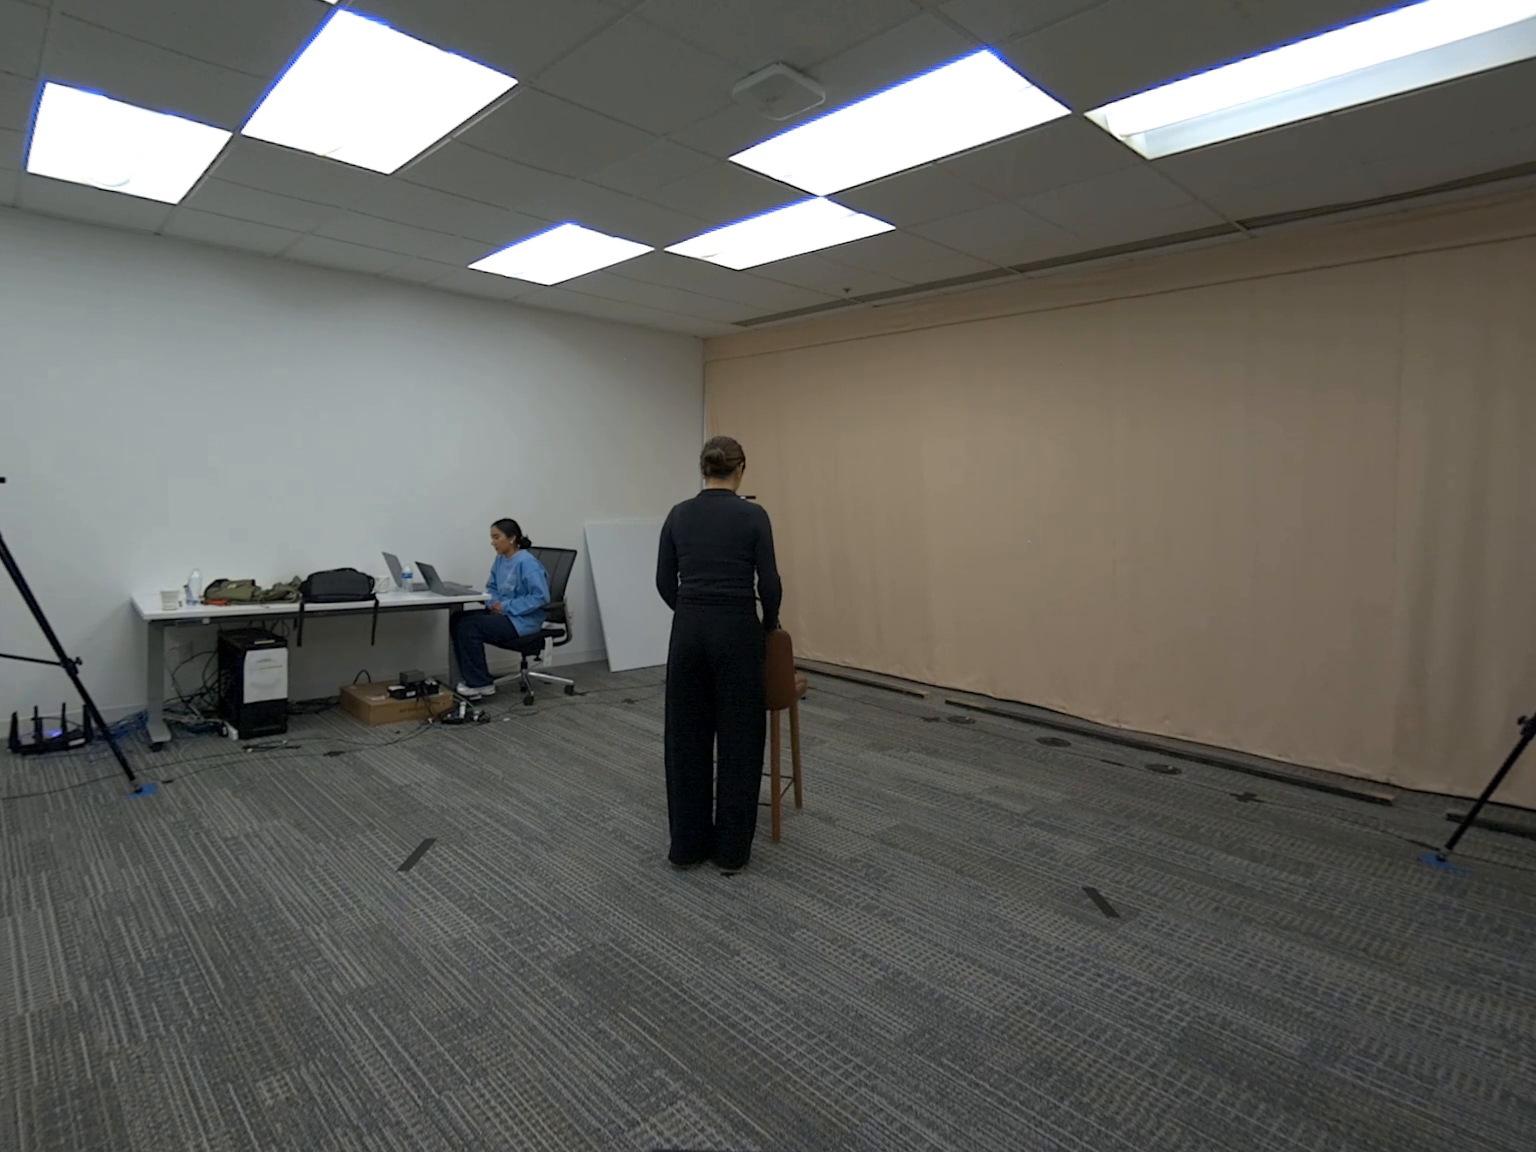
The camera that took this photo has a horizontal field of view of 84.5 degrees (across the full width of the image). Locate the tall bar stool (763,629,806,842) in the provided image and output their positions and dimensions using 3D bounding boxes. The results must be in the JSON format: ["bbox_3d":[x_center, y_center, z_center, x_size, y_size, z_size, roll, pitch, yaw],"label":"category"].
[{"bbox_3d":[-0.083,0.621,3.622,0.462,0.886,0.463,2,5,15],"label":"tall bar stool"}]
